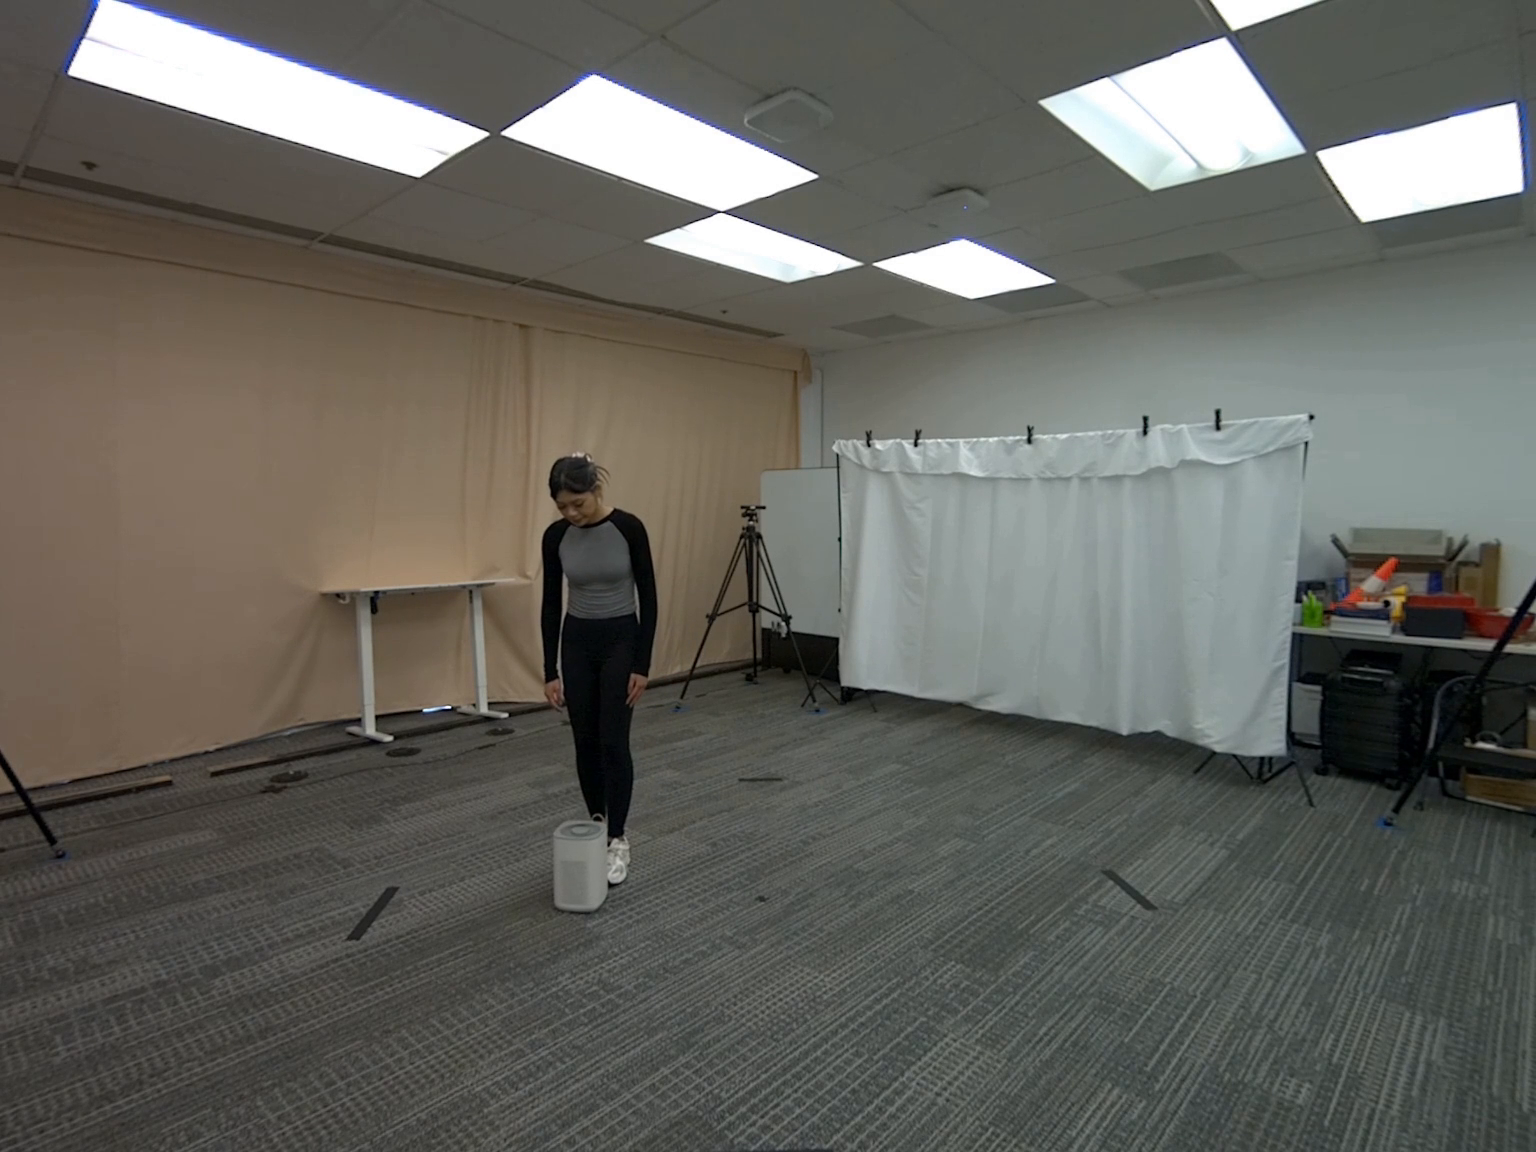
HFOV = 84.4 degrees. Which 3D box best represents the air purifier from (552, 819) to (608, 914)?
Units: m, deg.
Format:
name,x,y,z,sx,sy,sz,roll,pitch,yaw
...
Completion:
name,x,y,z,sx,sy,sz,roll,pitch,yaw
air purifier,-0.656,1.012,2.951,0.173,0.265,0.170,1,4,7
